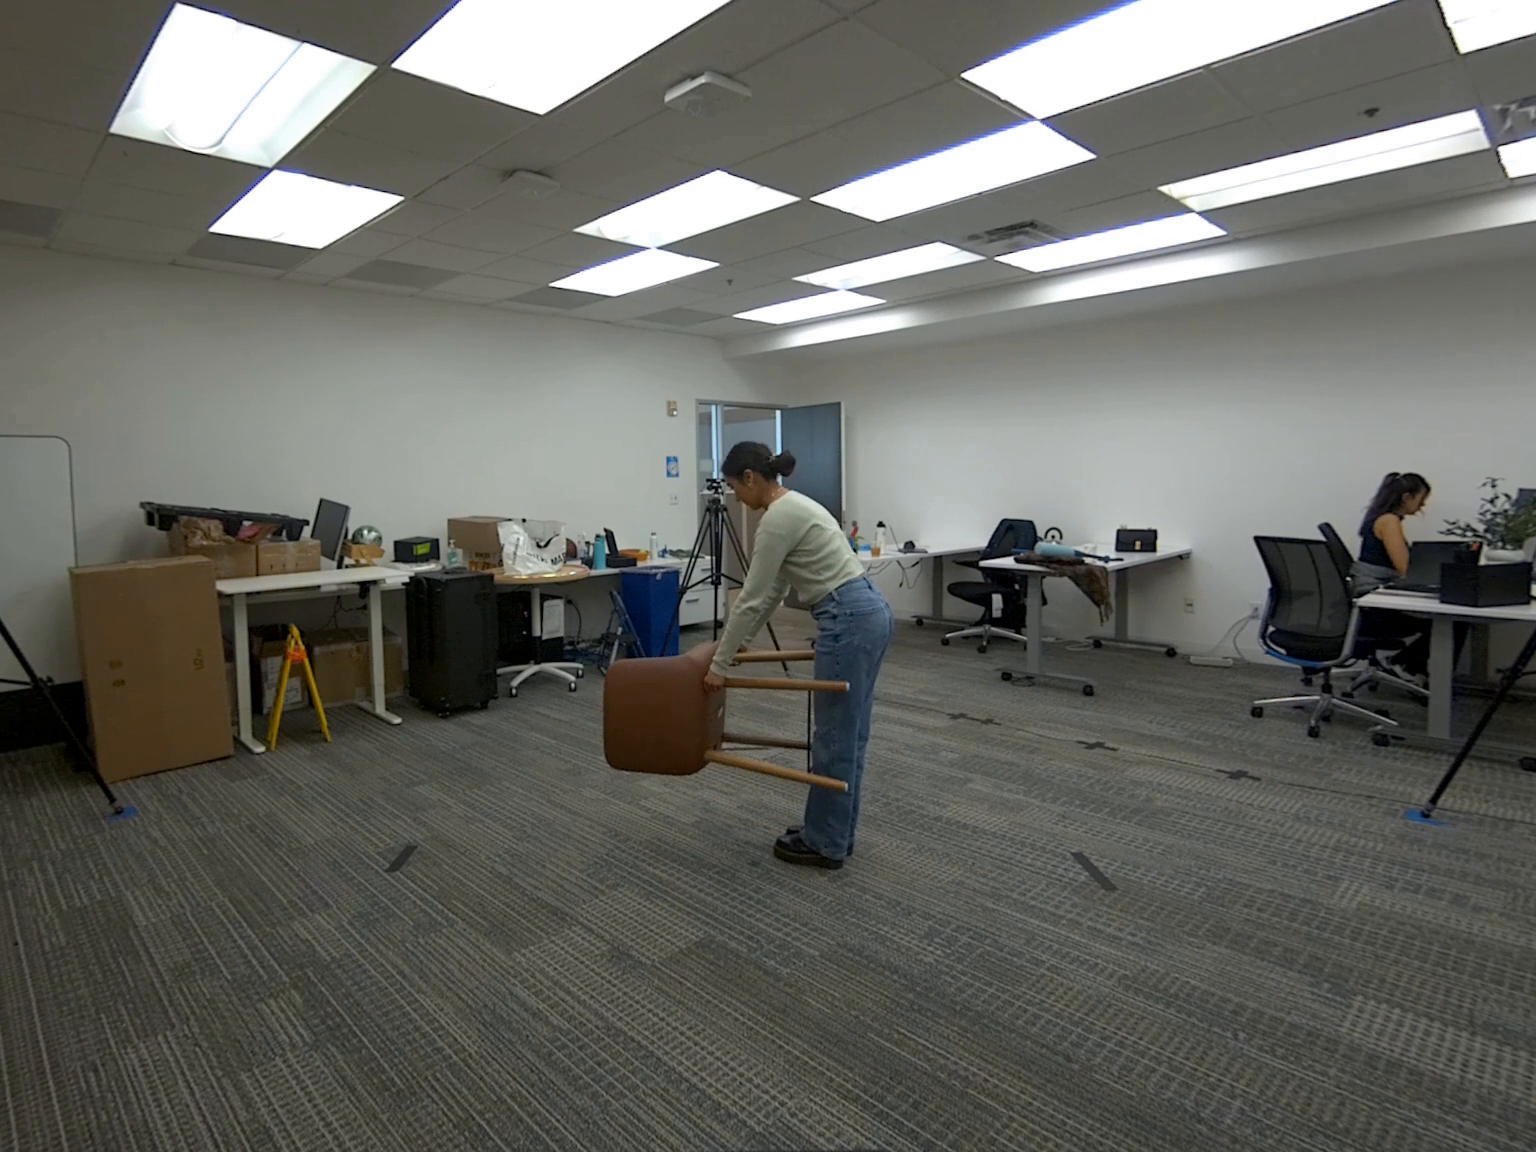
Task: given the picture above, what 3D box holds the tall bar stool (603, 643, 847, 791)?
[{"bbox_3d":[-0.114,0.504,3.187,0.902,0.454,0.464,1,7,13],"label":"tall bar stool"}]
